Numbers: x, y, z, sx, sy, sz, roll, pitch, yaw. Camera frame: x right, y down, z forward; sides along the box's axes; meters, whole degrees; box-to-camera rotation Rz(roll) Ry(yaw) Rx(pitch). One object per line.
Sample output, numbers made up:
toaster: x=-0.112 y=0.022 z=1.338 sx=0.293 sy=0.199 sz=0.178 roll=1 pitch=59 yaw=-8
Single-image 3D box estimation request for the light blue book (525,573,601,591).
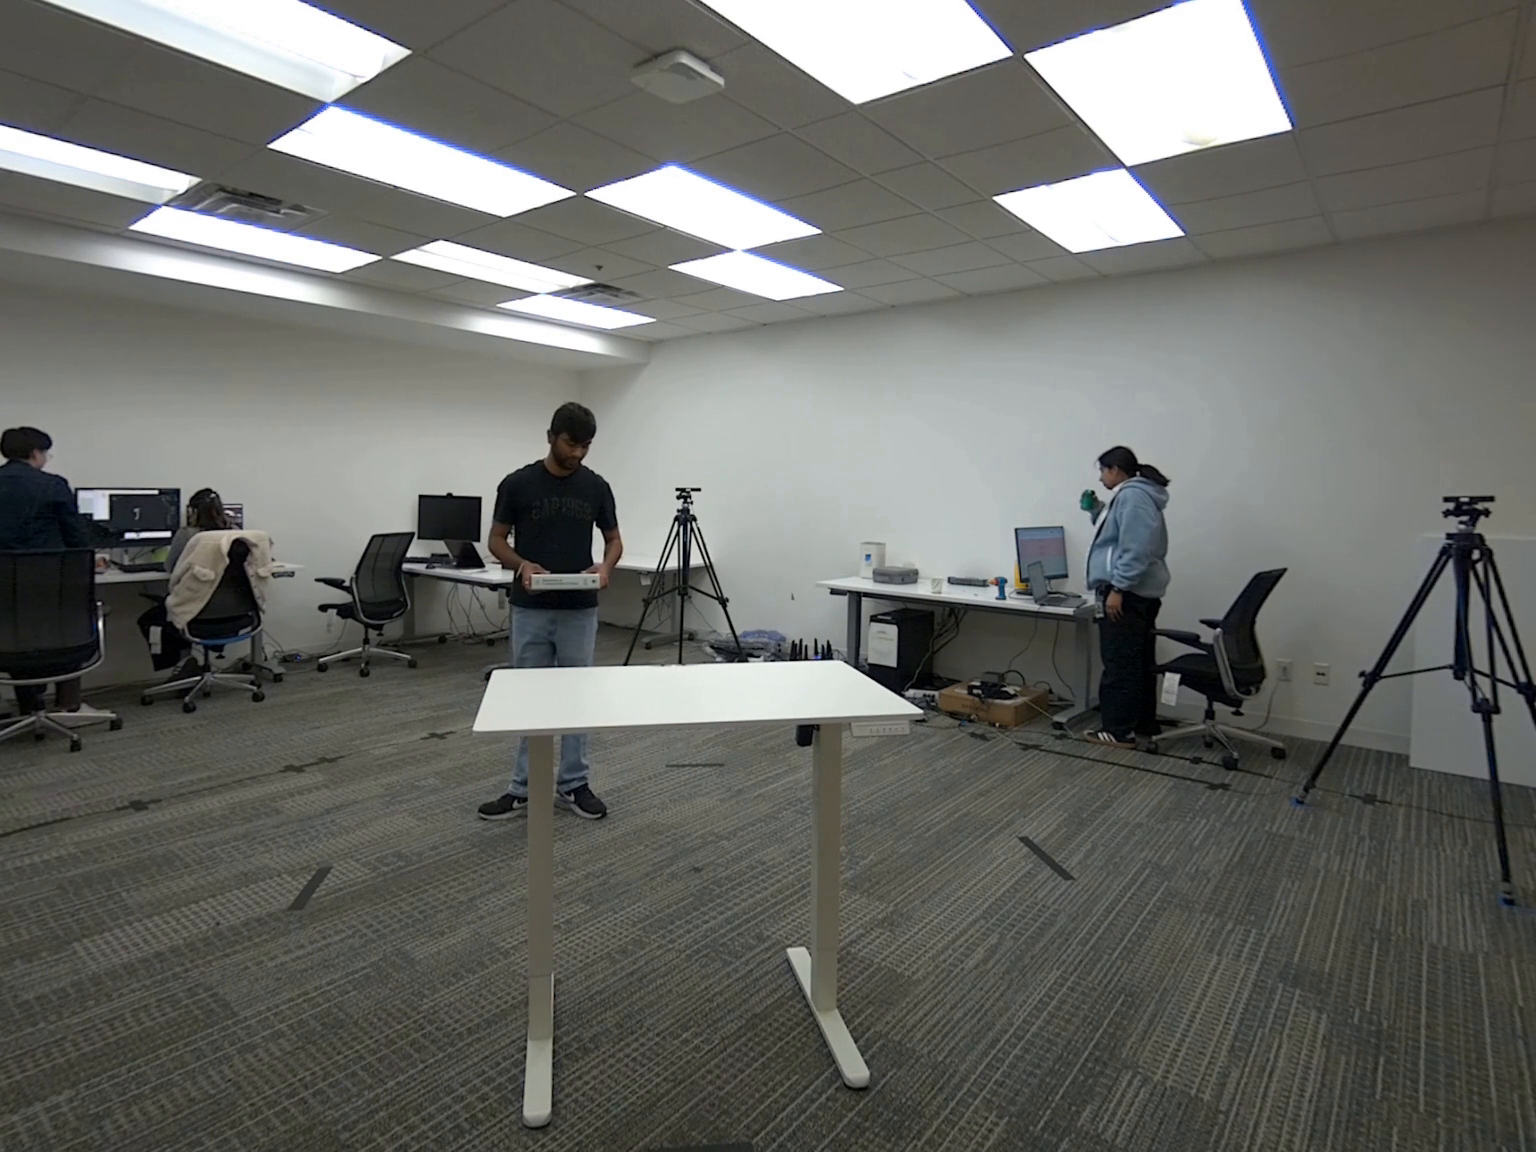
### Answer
light blue book: x=-0.818 y=0.016 z=3.374 sx=0.258 sy=0.059 sz=0.193 roll=-1 pitch=1 yaw=-11
